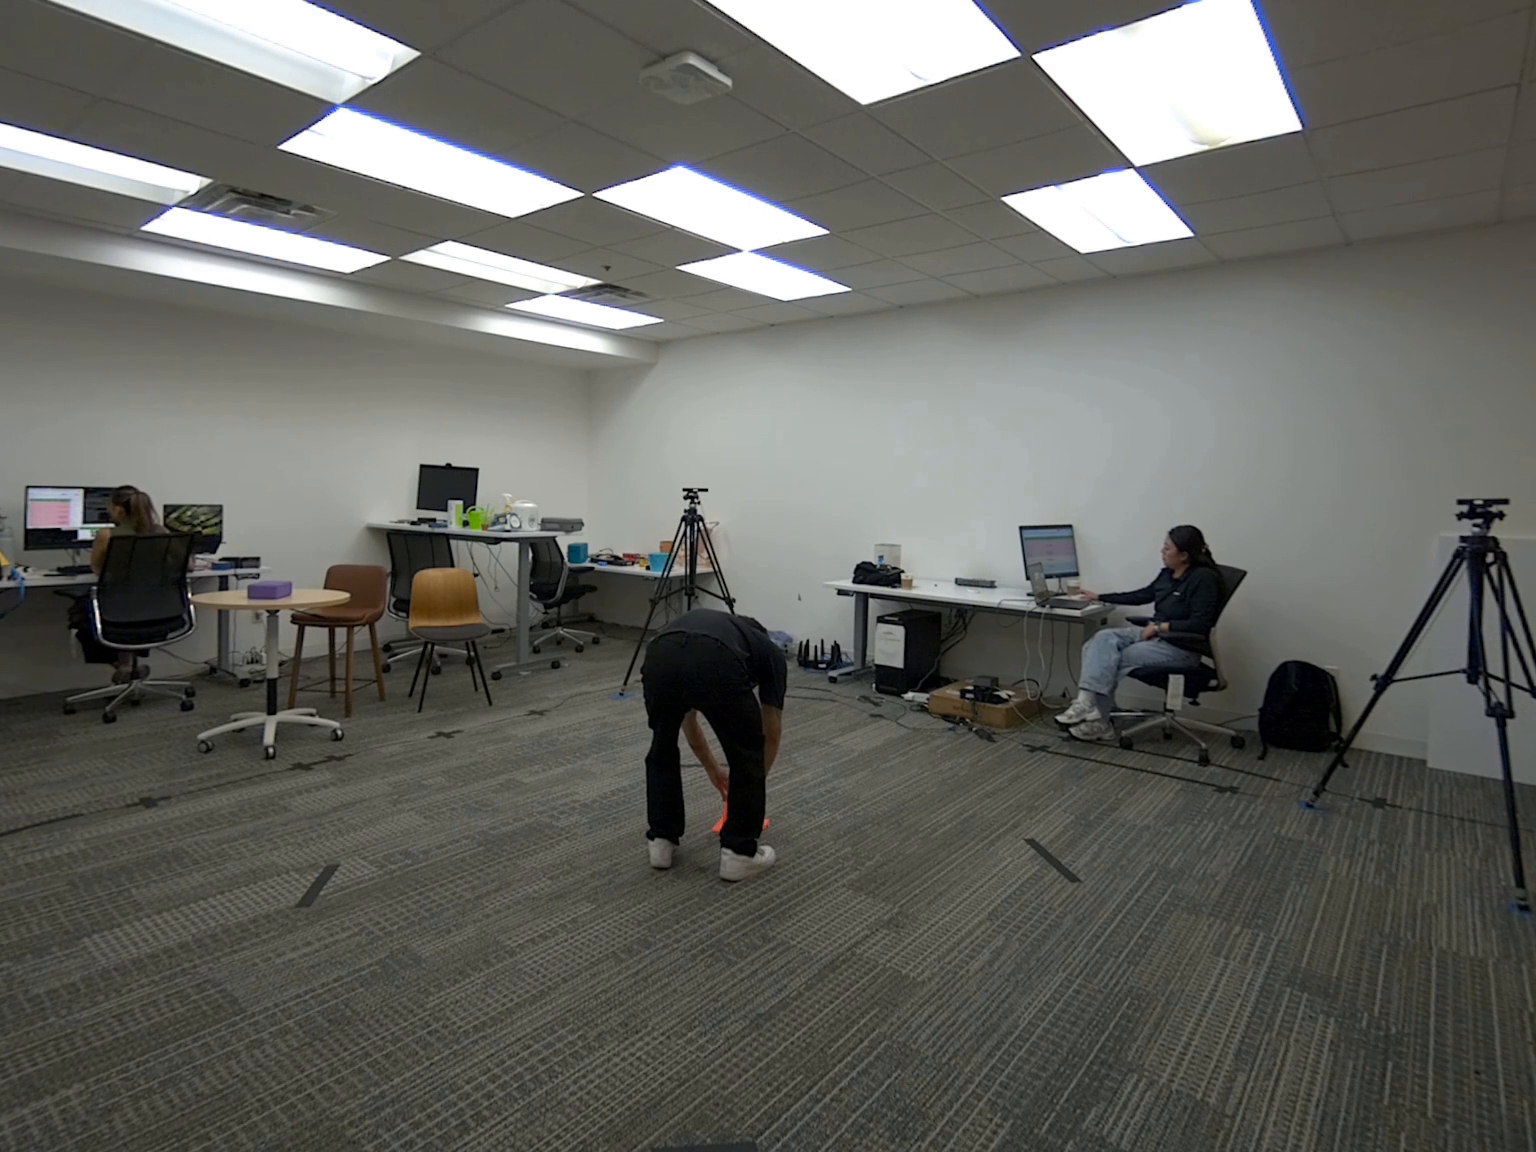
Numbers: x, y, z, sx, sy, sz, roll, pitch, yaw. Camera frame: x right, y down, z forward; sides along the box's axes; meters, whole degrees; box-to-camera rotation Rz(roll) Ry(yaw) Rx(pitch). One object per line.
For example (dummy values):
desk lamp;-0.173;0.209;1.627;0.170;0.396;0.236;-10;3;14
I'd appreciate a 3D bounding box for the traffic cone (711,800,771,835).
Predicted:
traffic cone;-0.117;0.843;3.515;0.207;0.383;0.202;1;3;15
